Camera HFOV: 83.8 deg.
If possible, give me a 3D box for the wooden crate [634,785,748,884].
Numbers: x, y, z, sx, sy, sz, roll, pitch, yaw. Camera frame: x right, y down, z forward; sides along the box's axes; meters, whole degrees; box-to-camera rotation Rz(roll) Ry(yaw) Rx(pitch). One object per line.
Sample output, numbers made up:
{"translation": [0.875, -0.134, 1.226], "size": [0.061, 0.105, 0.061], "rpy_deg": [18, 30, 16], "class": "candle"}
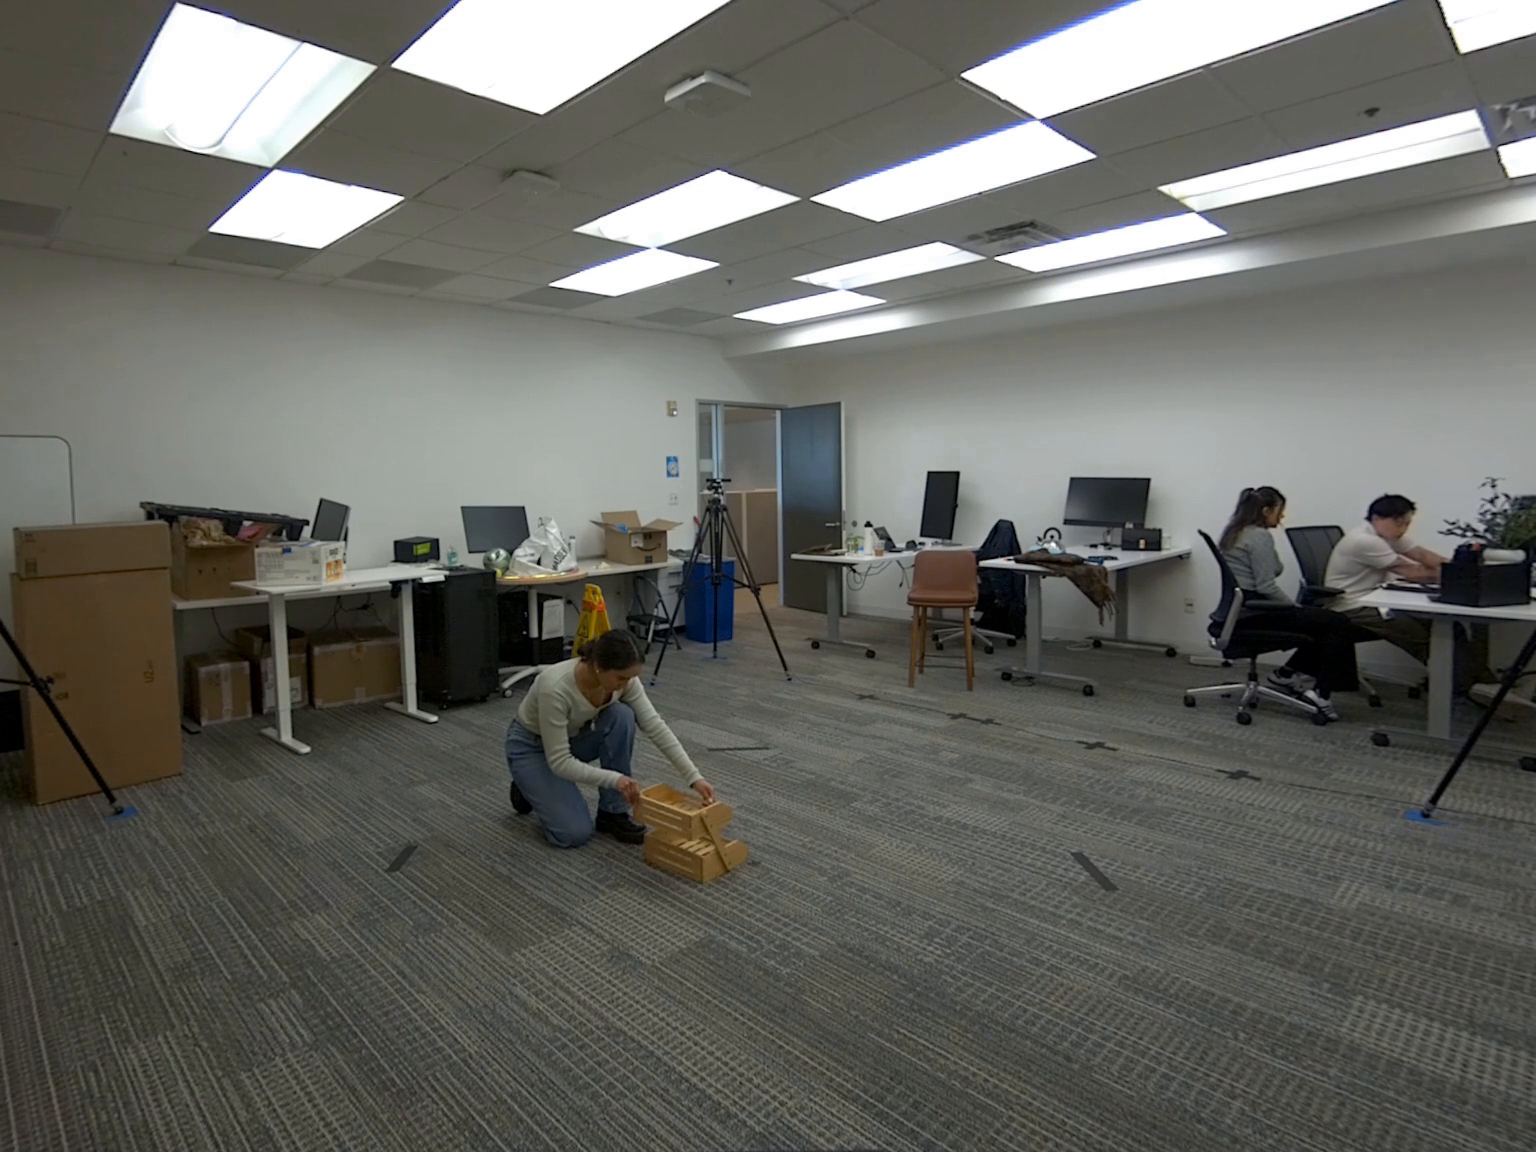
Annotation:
{"translation": [-0.276, 0.911, 3.118], "size": [0.334, 0.272, 0.294], "rpy_deg": [4, 8, 41], "class": "wooden crate"}
